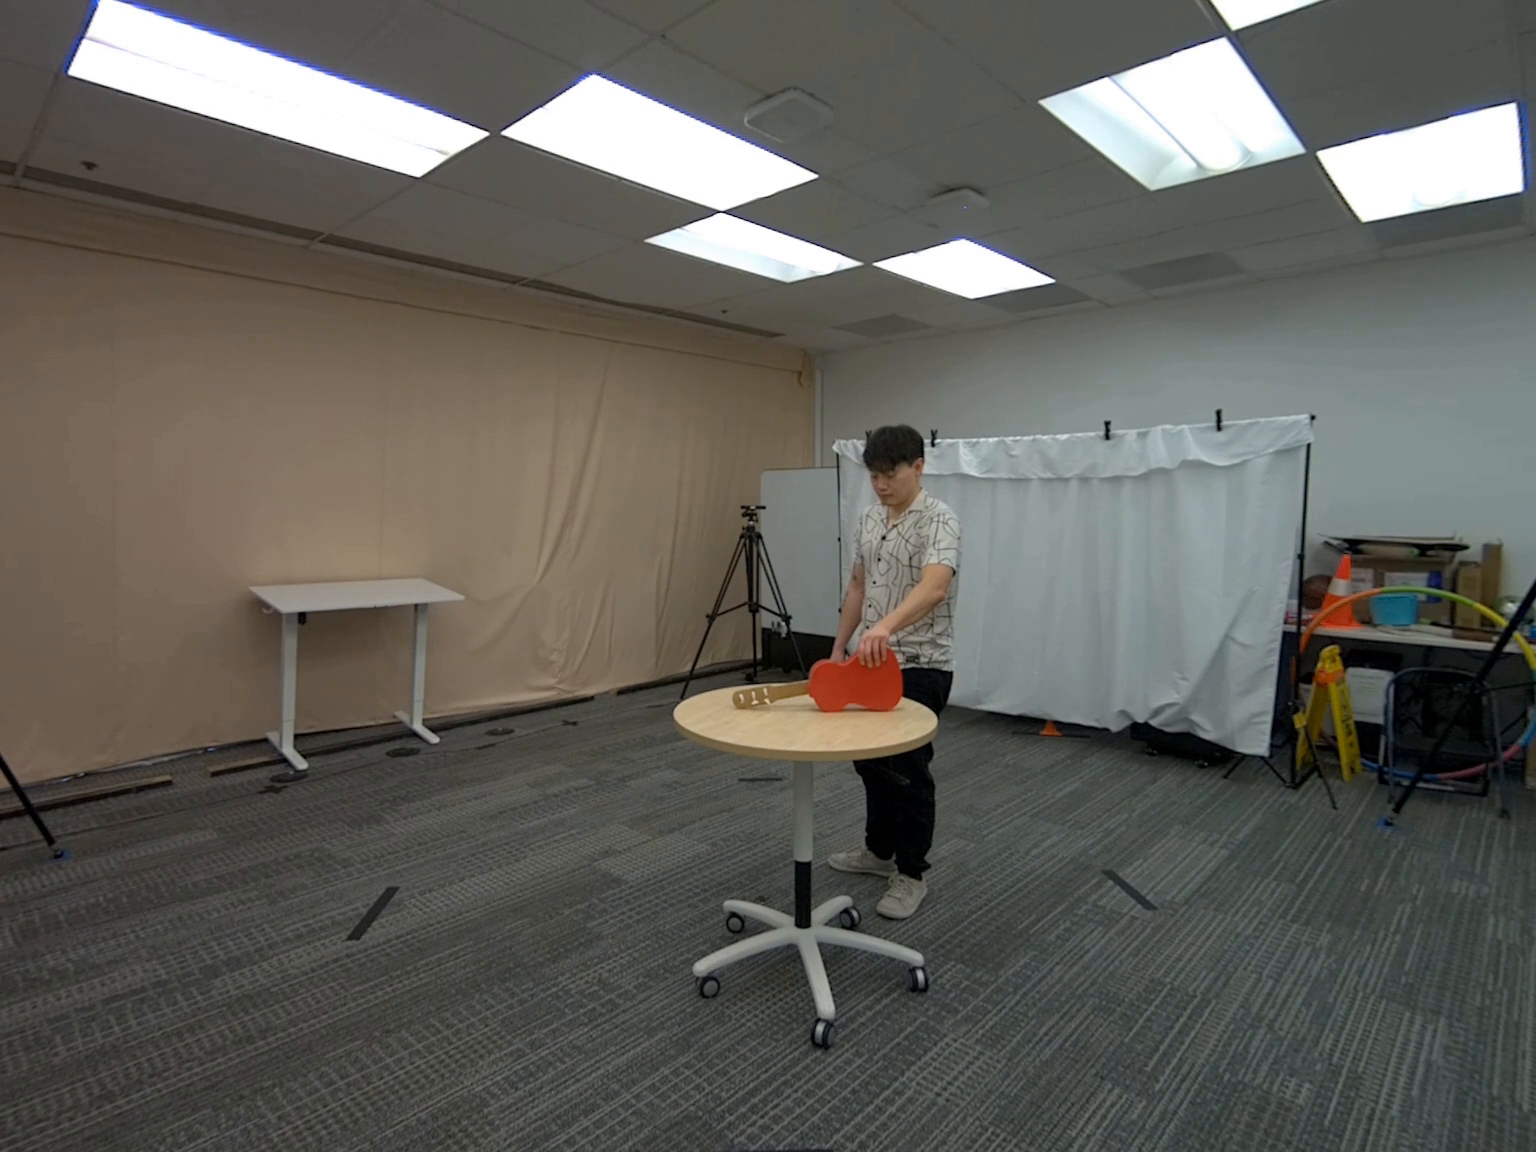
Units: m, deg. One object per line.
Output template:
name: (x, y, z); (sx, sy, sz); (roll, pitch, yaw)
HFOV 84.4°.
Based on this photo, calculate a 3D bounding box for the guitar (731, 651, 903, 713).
guitar: (0.160, 0.359, 2.502); (0.498, 0.192, 0.071); (-19, 5, 0)
